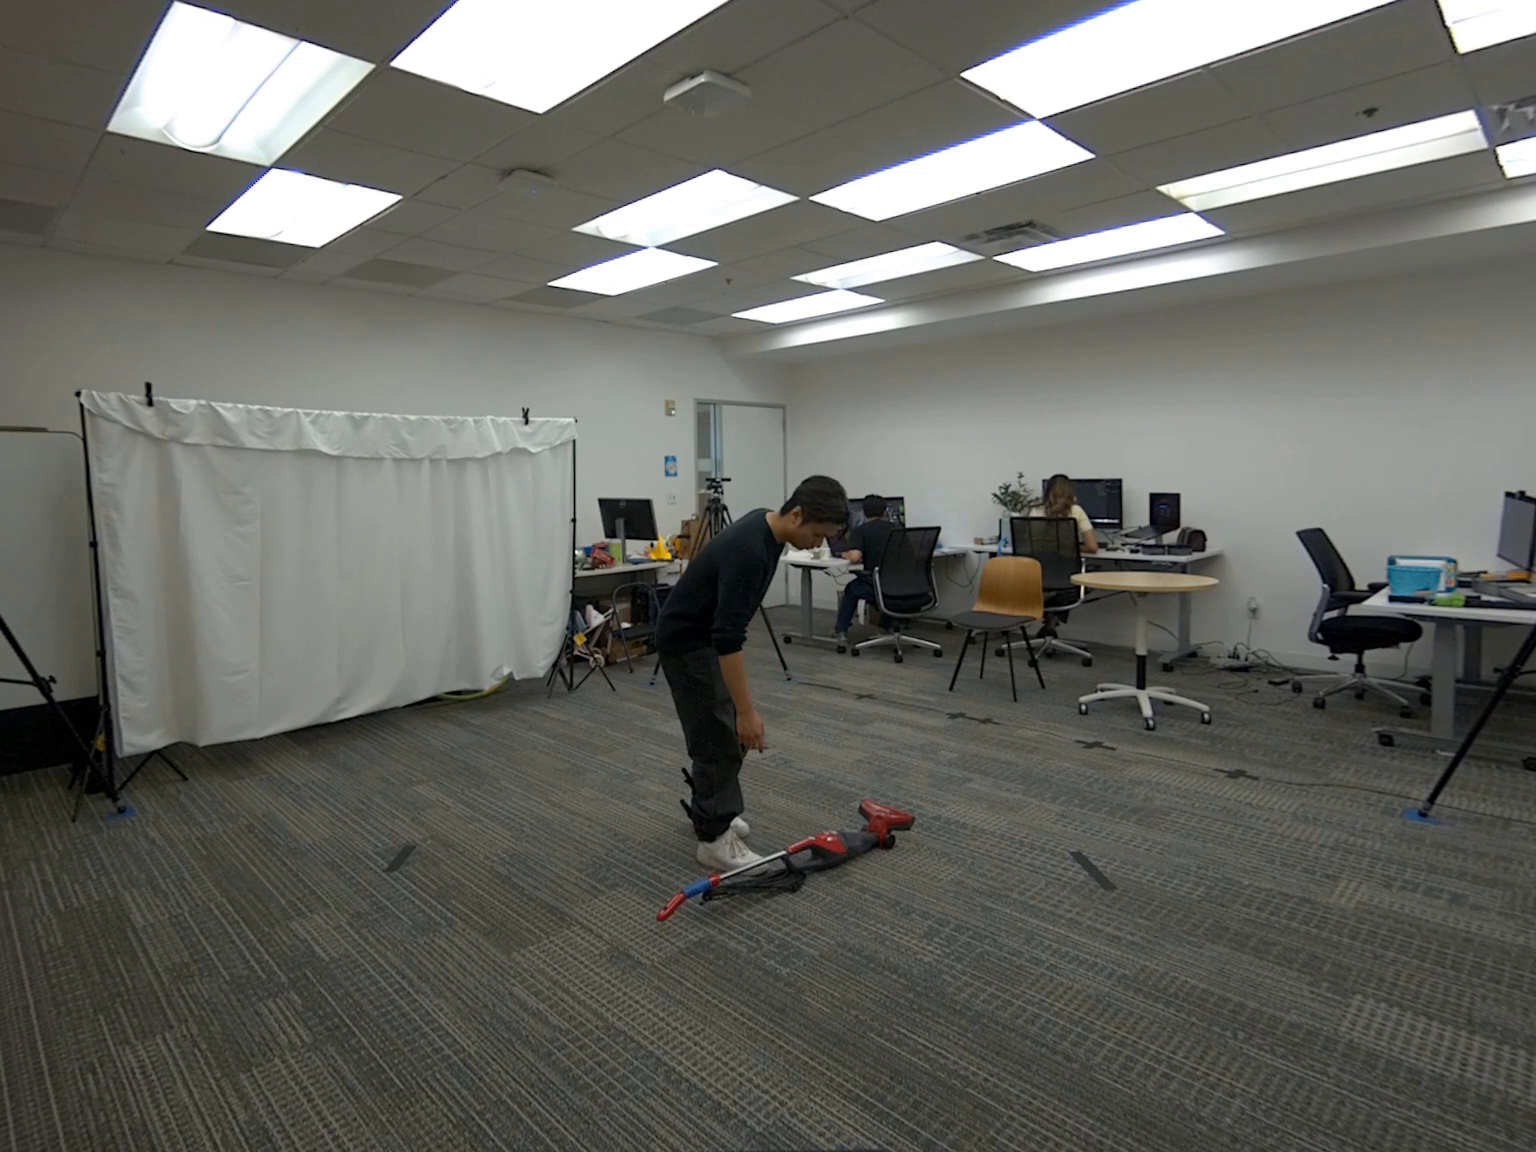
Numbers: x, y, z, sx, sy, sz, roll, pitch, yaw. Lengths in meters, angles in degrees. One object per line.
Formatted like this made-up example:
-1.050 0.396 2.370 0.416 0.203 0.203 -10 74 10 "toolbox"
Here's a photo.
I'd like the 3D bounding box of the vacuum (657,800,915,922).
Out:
0.058 0.997 2.930 1.023 0.143 0.260 -7 6 -40 "vacuum"
